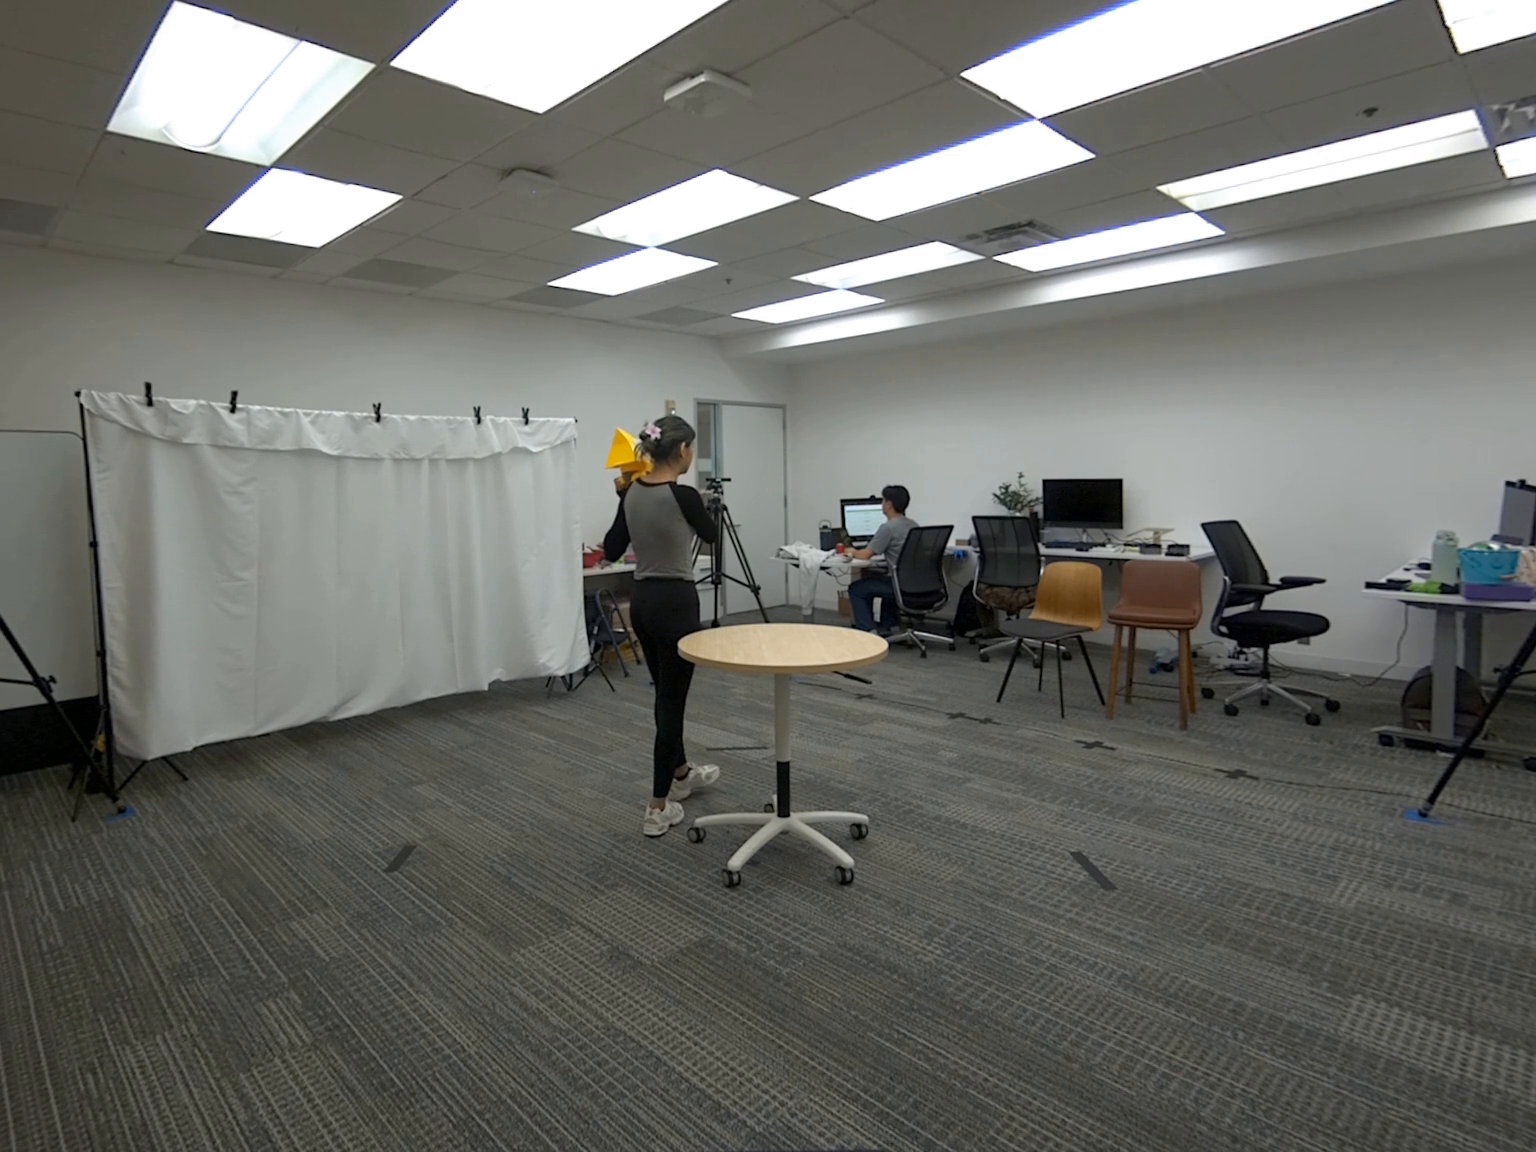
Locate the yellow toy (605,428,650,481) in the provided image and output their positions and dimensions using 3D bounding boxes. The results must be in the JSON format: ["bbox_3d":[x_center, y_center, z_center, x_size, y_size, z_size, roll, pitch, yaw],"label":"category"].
[{"bbox_3d":[-0.556,-0.514,3.578,0.209,0.230,0.189,-10,6,45],"label":"yellow toy"}]
